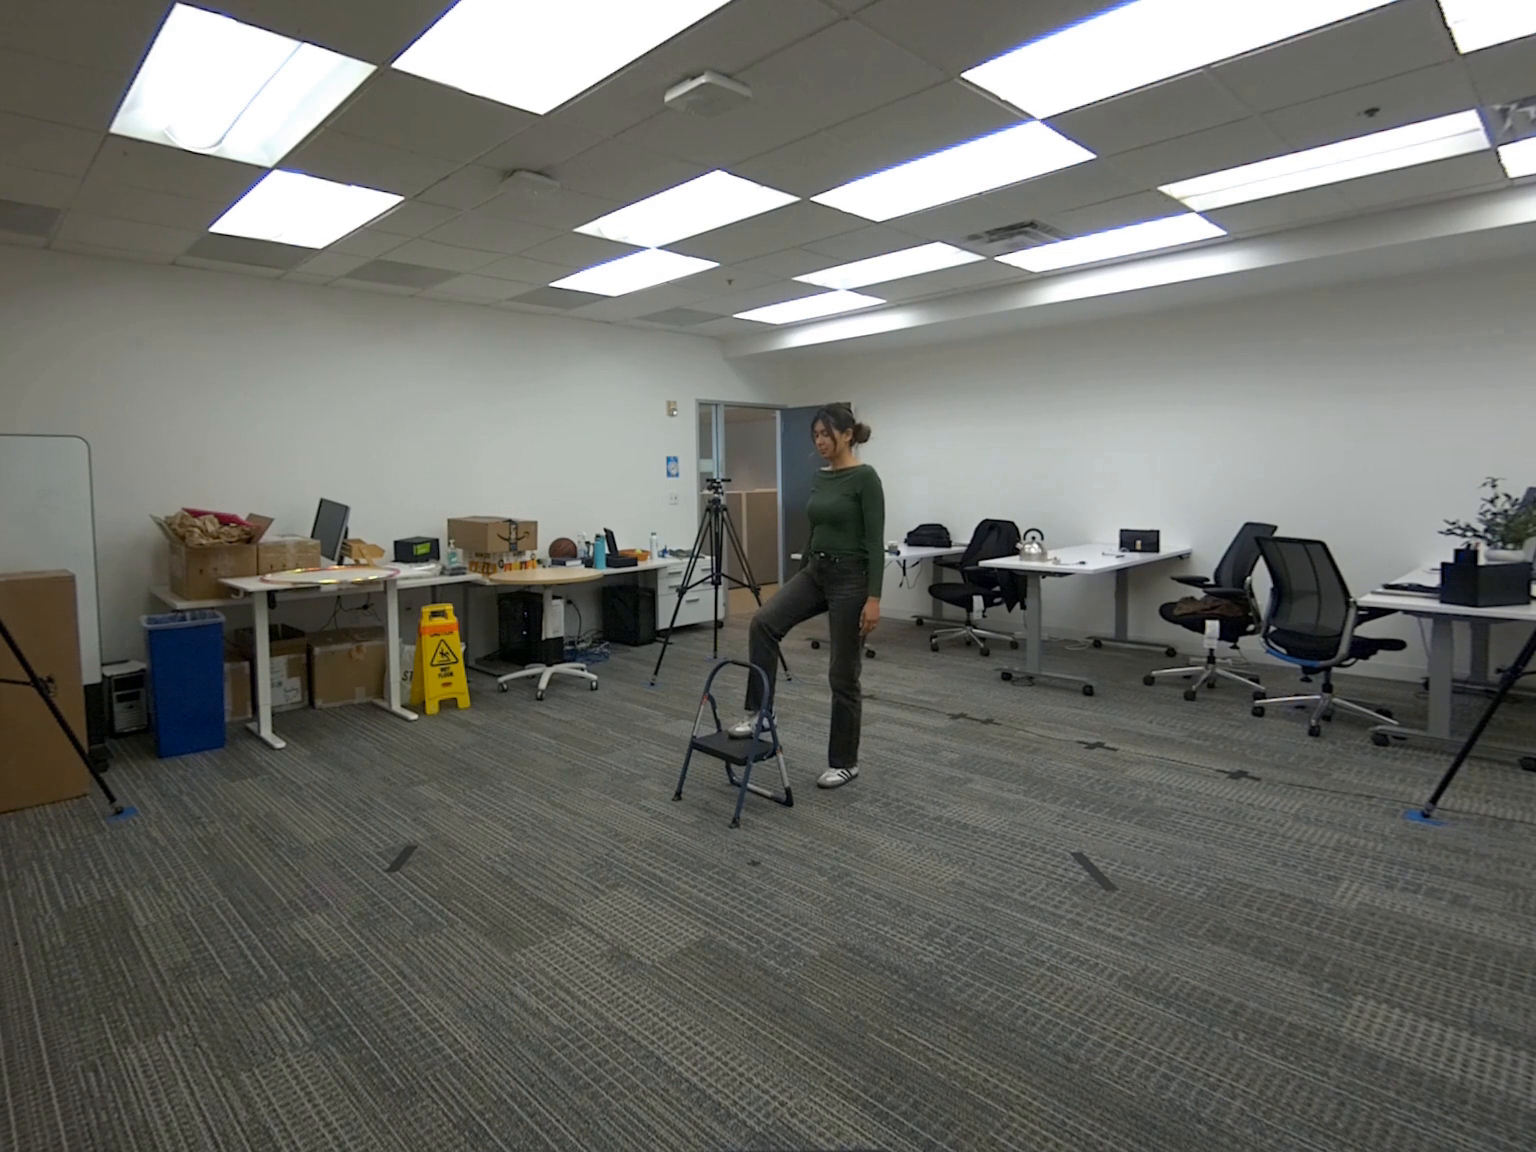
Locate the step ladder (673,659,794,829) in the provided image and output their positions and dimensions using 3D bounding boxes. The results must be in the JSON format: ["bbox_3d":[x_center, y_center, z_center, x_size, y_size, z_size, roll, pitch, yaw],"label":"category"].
[{"bbox_3d":[-0.157,0.678,3.669,0.340,0.604,0.444,-4,5,-41],"label":"step ladder"}]
